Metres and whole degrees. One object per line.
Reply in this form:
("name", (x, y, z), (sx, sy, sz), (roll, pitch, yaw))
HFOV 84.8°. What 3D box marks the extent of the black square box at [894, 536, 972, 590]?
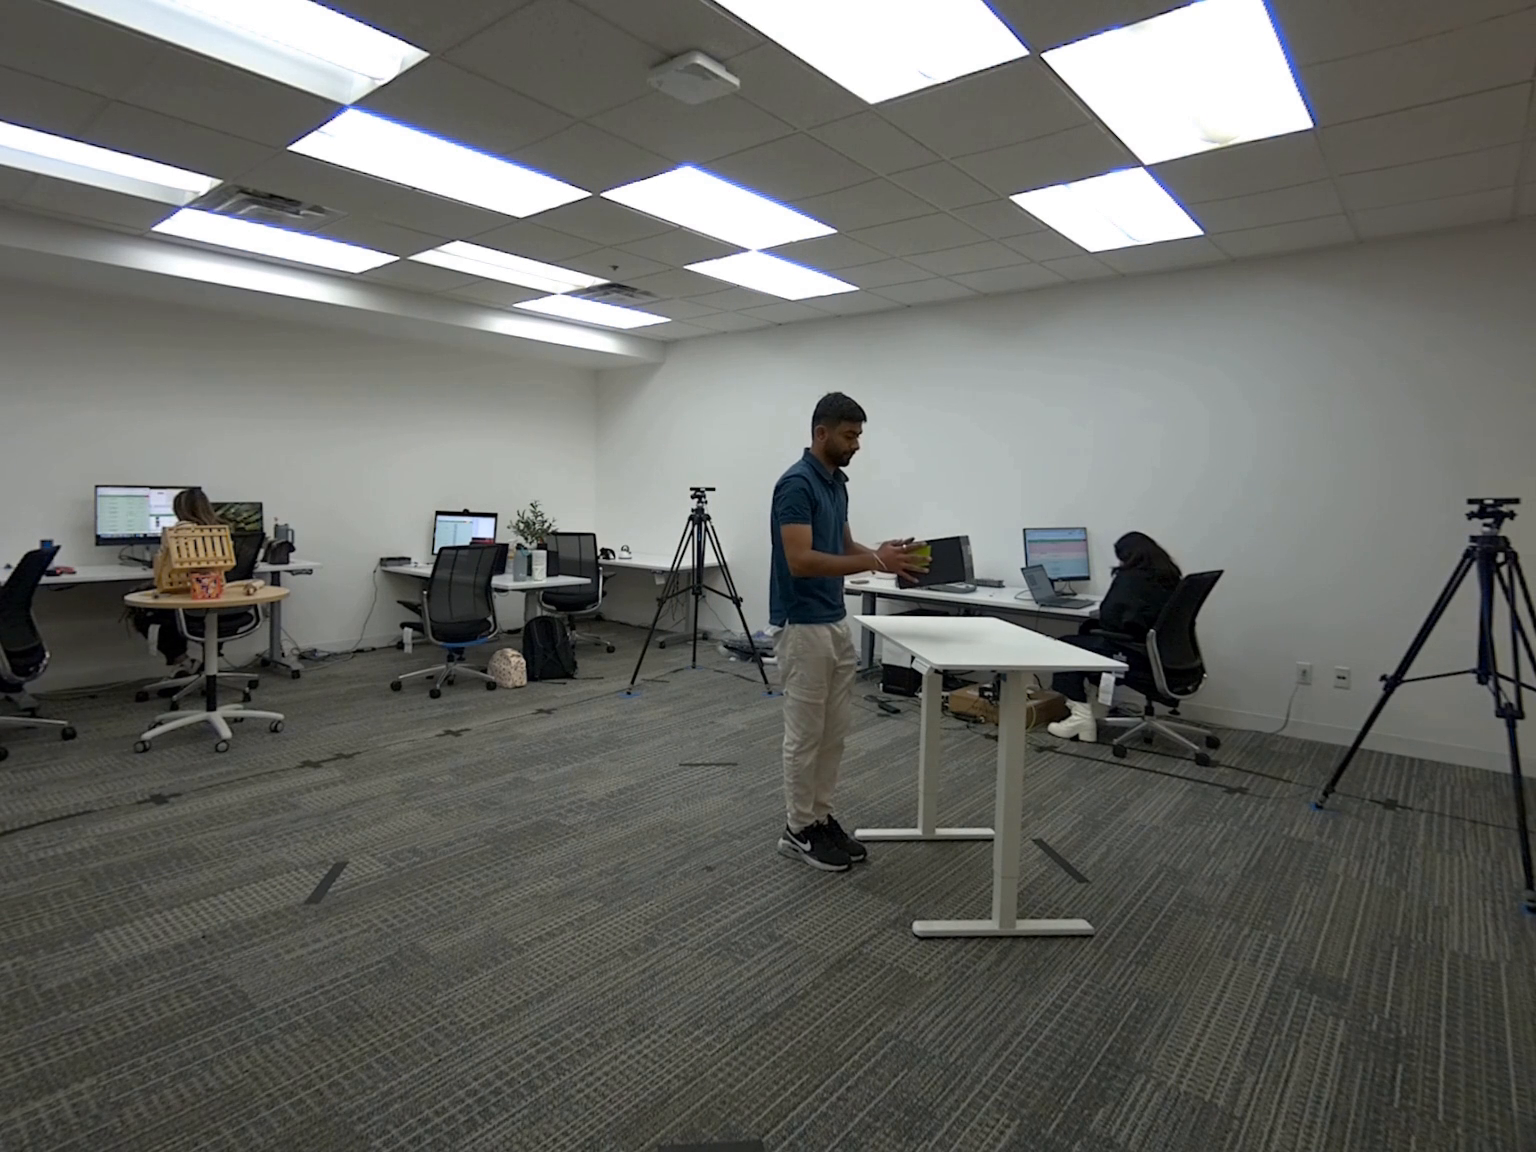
("black square box", (0.576, -0.050, 2.960), (0.232, 0.156, 0.212), (-6, 0, 21))
